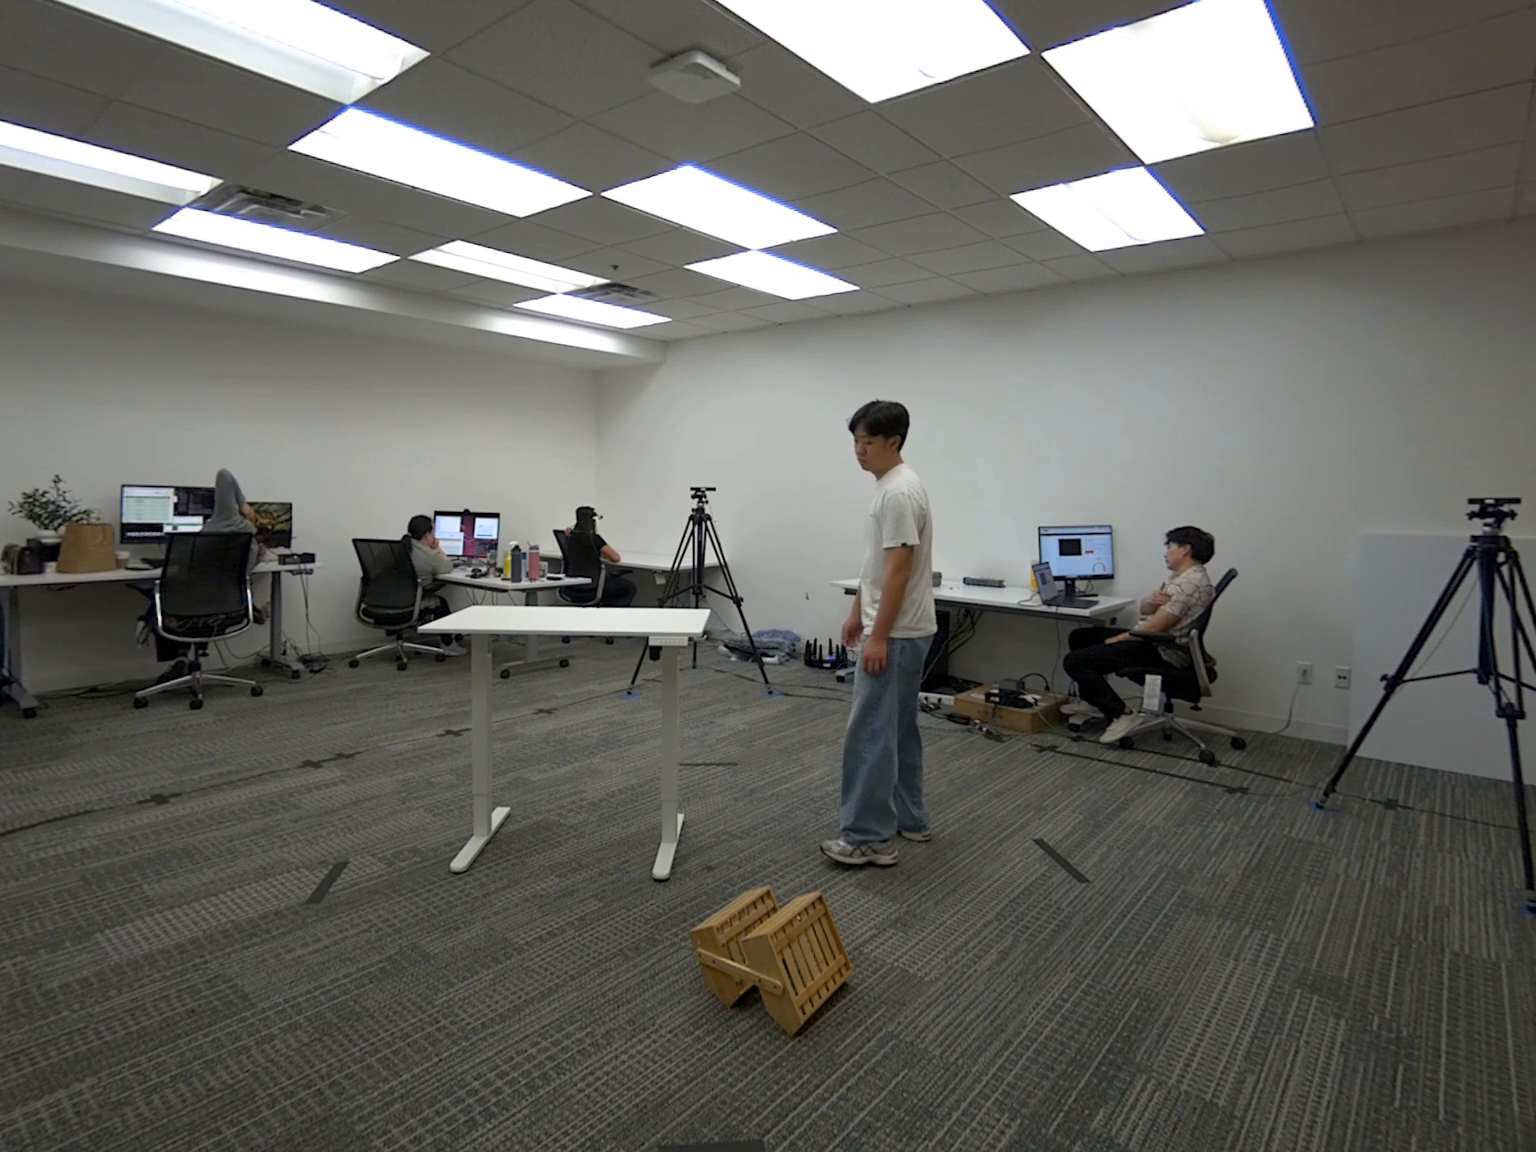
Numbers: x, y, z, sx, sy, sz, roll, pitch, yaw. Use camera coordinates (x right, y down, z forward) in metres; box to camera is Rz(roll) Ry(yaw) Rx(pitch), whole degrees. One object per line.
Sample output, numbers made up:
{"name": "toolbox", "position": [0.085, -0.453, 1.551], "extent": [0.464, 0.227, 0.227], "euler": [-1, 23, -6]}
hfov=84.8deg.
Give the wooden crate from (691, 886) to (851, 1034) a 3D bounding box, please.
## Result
{"name": "wooden crate", "position": [0.004, 1.056, 2.367], "extent": [0.276, 0.307, 0.315], "euler": [-29, -13, 31]}
